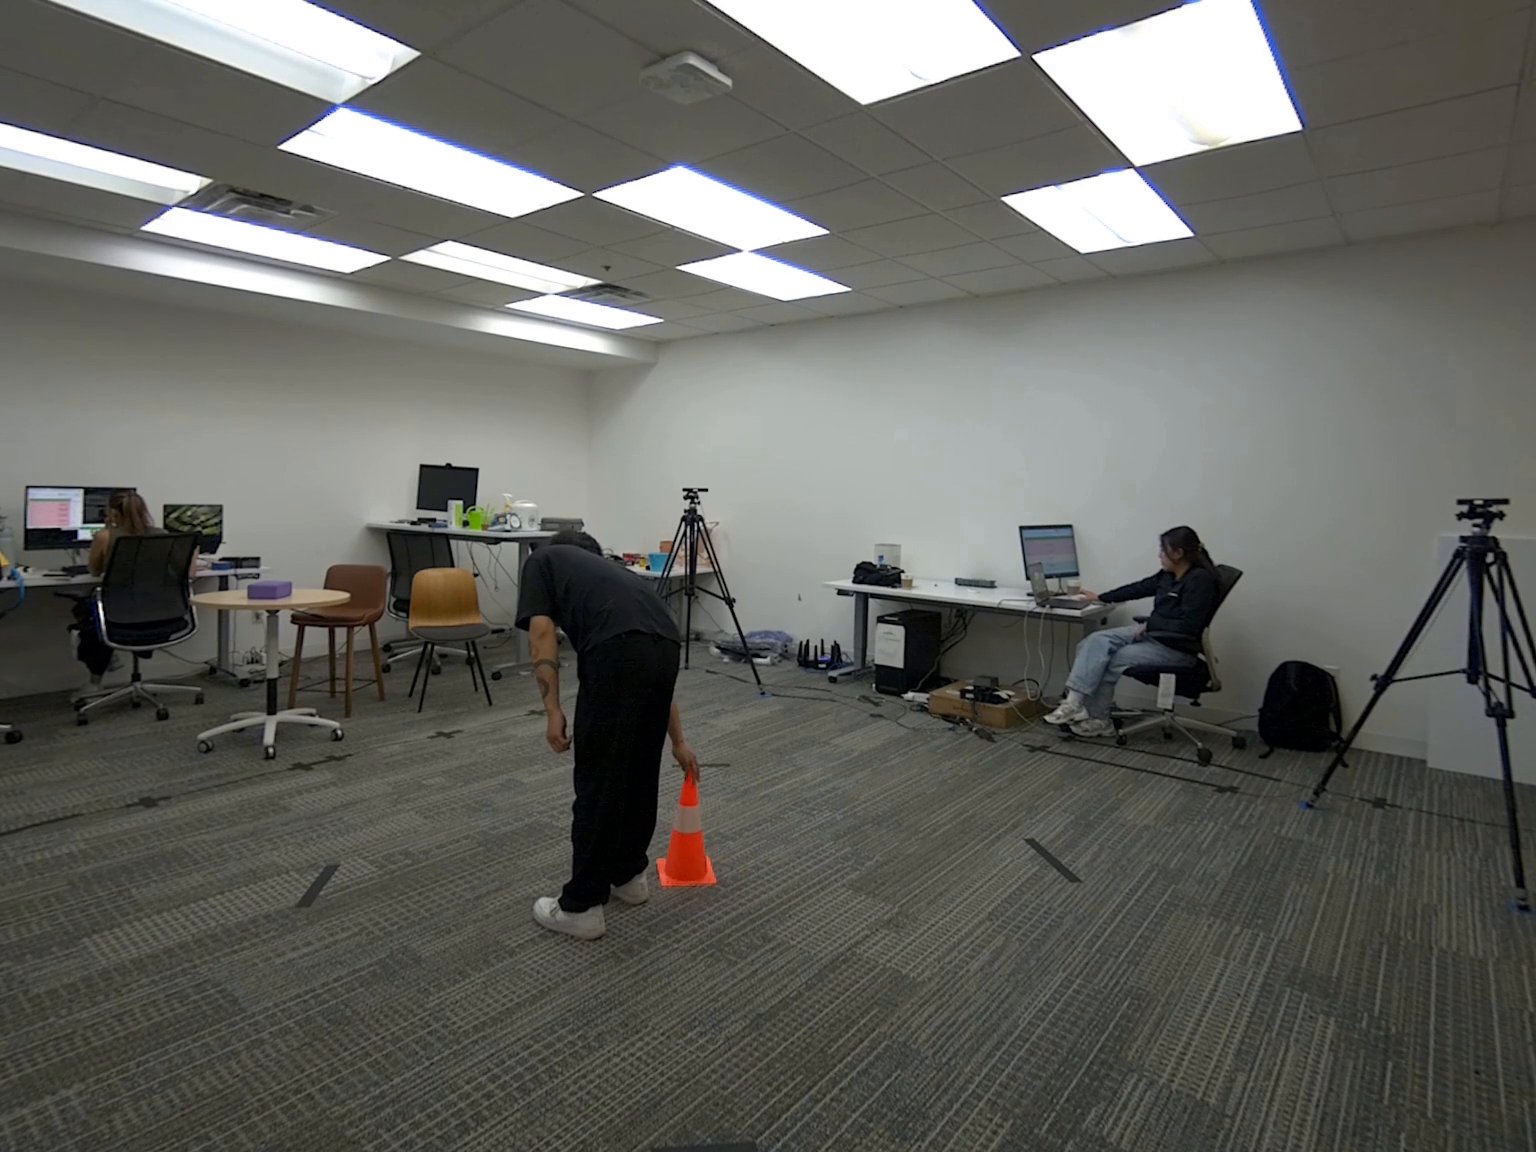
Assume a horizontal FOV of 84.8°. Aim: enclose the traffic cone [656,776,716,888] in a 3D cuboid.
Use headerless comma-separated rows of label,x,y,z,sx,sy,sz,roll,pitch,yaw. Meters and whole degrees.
traffic cone,-0.287,0.884,3.056,0.203,0.381,0.207,2,7,-10
